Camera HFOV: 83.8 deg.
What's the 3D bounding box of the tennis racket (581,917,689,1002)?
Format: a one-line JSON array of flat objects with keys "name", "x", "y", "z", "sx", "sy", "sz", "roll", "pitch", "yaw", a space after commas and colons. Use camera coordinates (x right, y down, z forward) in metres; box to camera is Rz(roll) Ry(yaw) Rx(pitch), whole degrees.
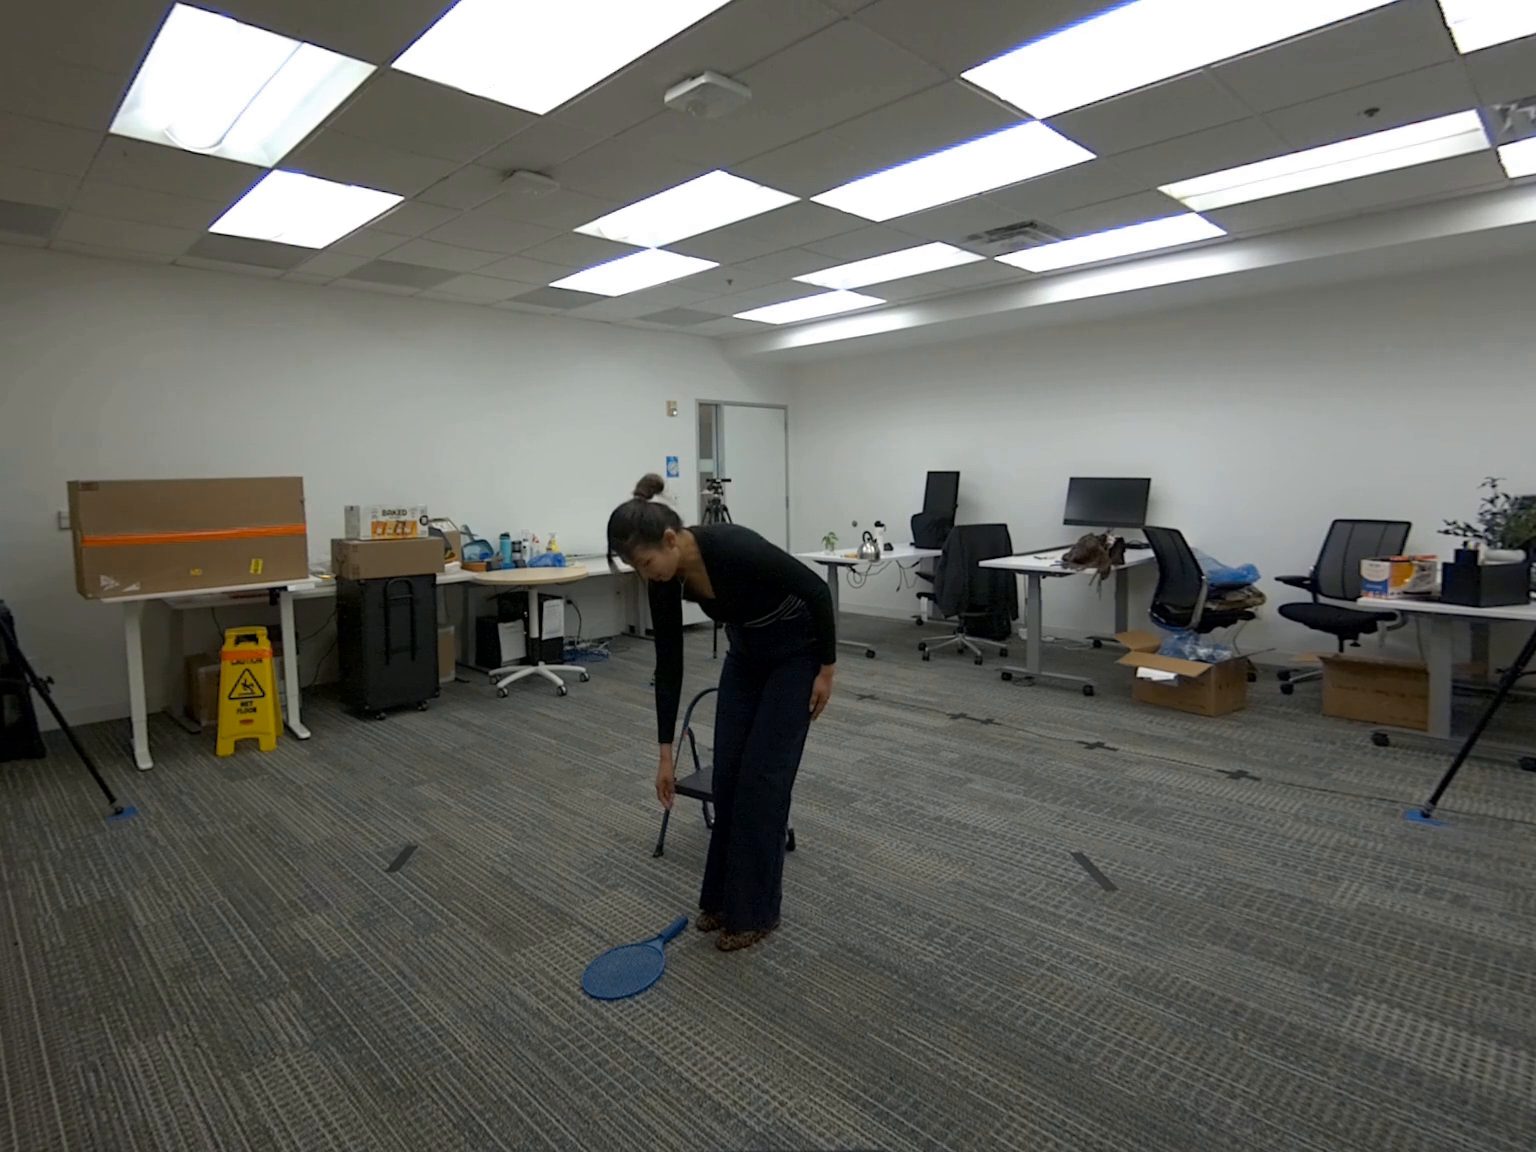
[{"name": "tennis racket", "x": -0.364, "y": 1.104, "z": 2.508, "sx": 0.219, "sy": 0.031, "sz": 0.425, "roll": 2, "pitch": 8, "yaw": 26}]
